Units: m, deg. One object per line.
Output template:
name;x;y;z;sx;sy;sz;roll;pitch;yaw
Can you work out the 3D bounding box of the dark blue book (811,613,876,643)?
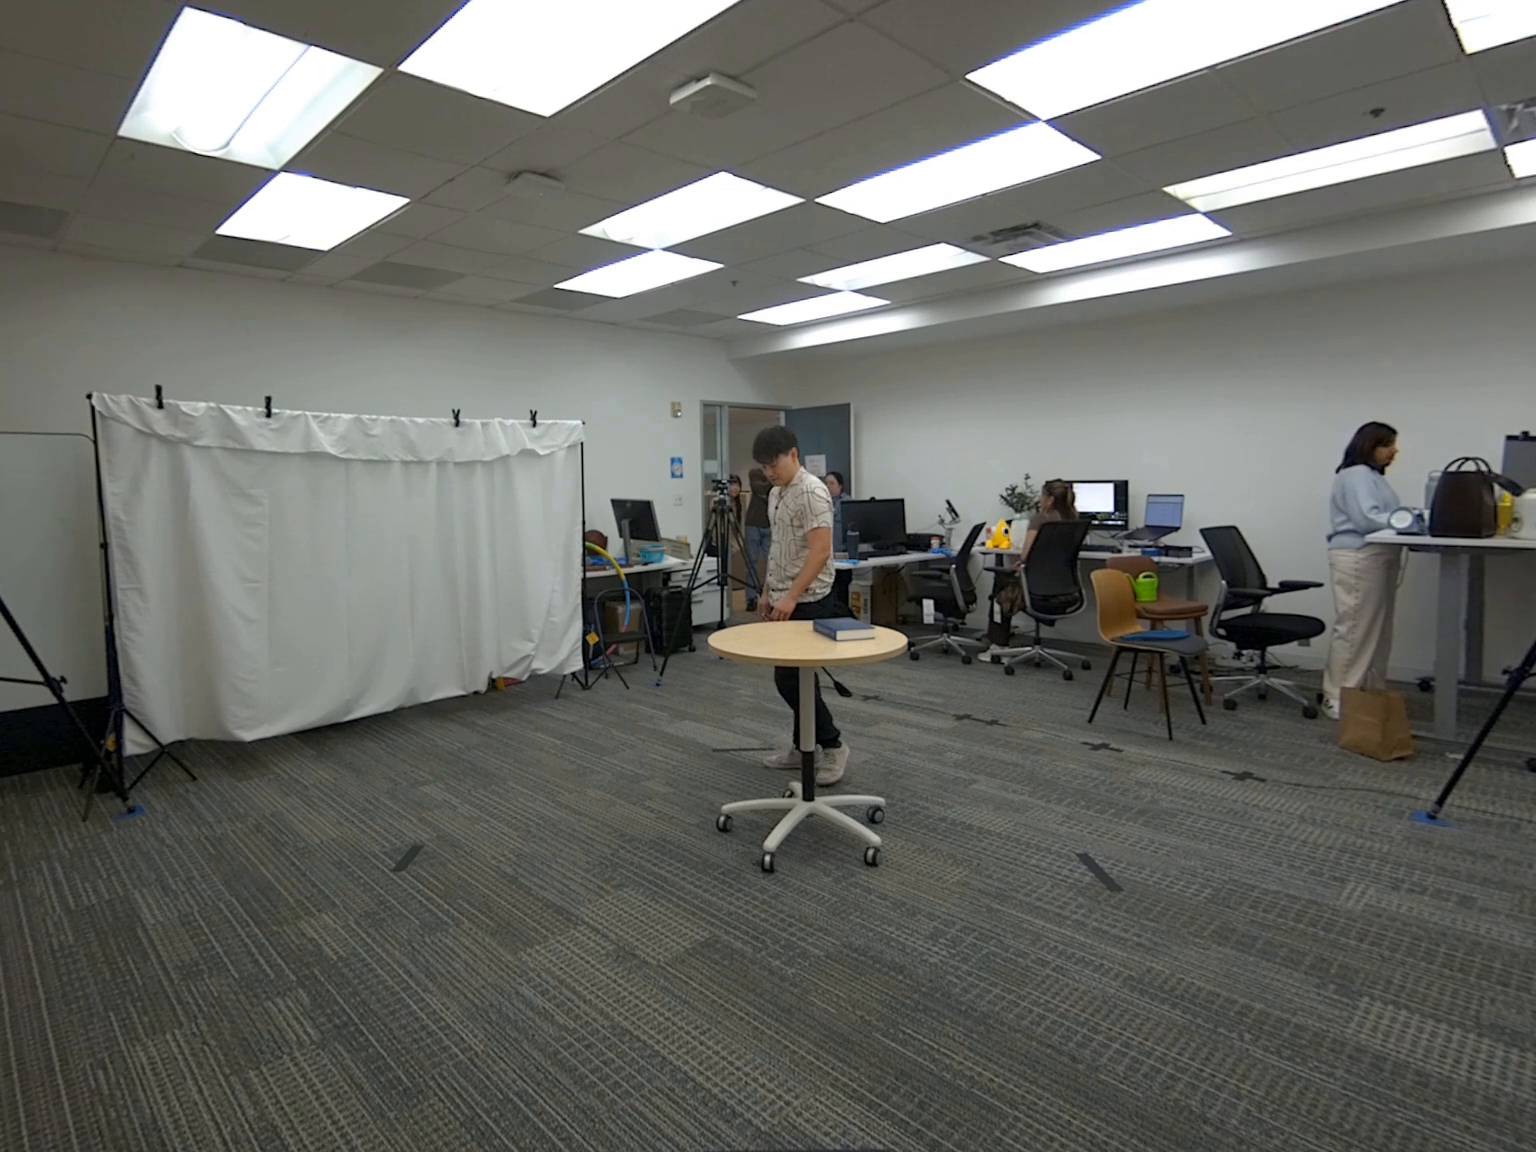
dark blue book;0.299;0.211;3.357;0.161;0.045;0.250;-3;7;-17
